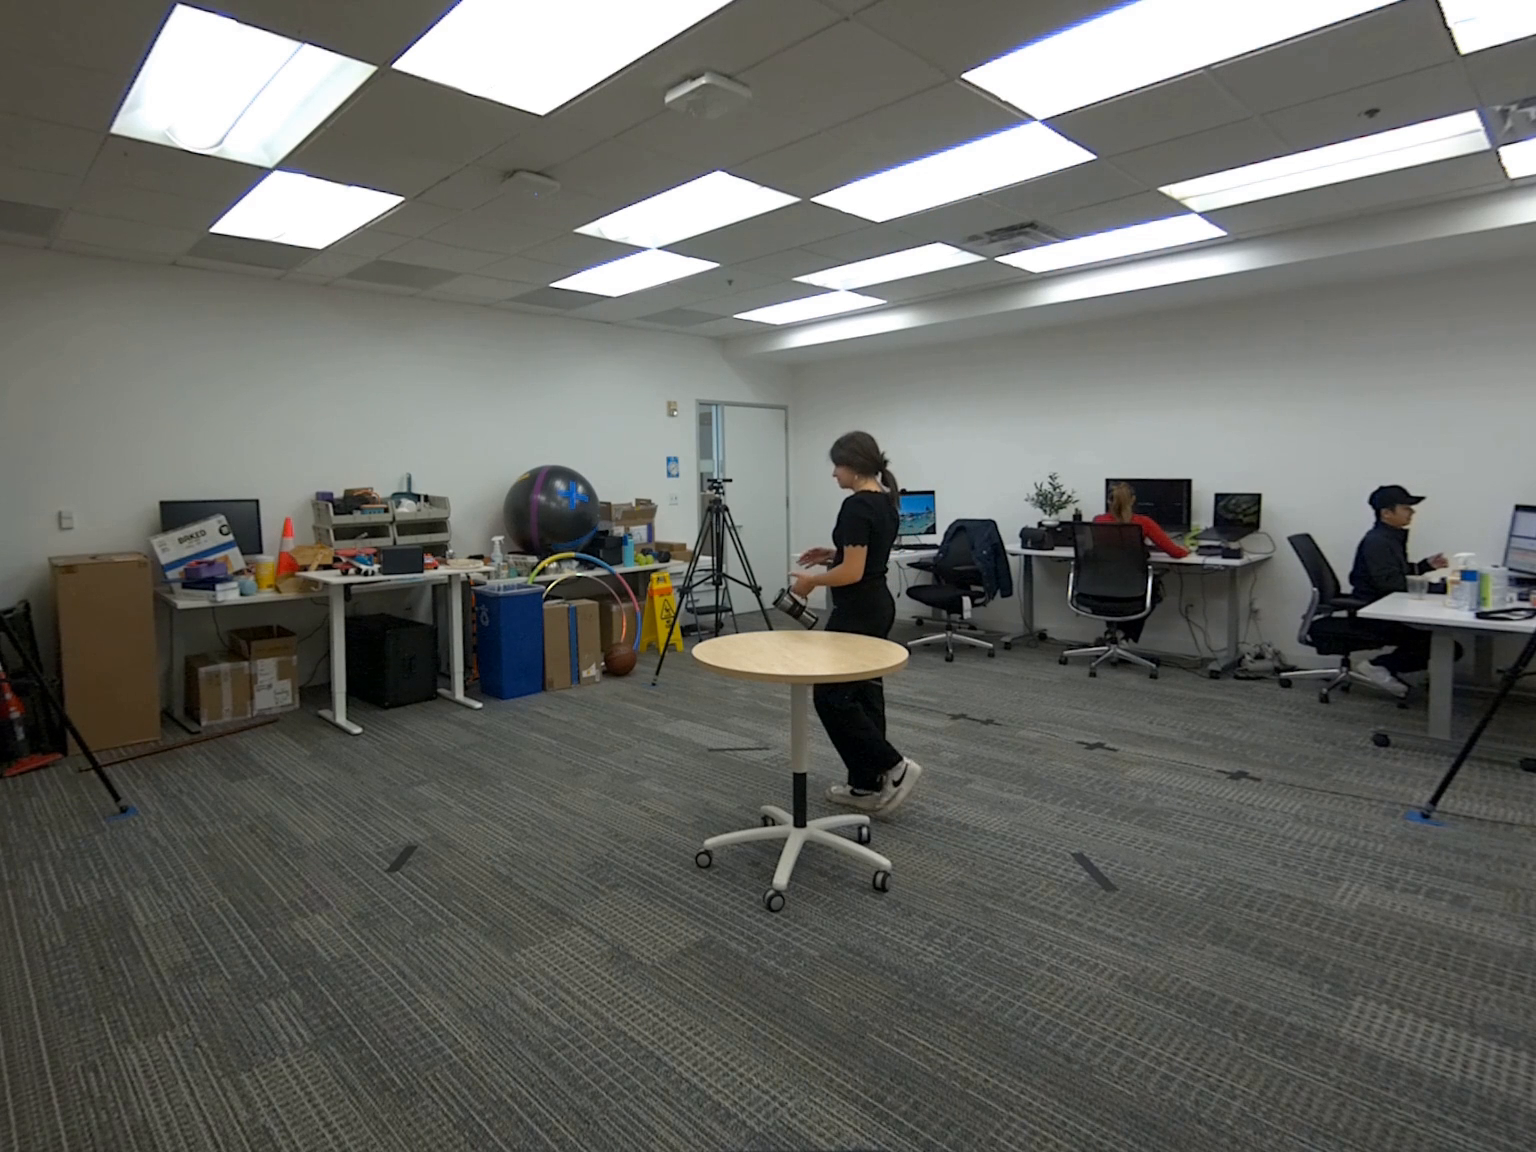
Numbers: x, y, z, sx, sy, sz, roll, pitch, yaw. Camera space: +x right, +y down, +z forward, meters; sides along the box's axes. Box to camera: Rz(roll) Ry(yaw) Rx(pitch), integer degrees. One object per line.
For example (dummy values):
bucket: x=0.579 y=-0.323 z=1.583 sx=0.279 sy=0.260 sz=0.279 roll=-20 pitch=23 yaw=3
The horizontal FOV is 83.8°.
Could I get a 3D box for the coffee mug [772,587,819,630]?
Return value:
coffee mug: x=0.146 y=0.119 z=3.659 sx=0.203 sy=0.122 sz=0.087 roll=36 pitch=-11 yaw=0
